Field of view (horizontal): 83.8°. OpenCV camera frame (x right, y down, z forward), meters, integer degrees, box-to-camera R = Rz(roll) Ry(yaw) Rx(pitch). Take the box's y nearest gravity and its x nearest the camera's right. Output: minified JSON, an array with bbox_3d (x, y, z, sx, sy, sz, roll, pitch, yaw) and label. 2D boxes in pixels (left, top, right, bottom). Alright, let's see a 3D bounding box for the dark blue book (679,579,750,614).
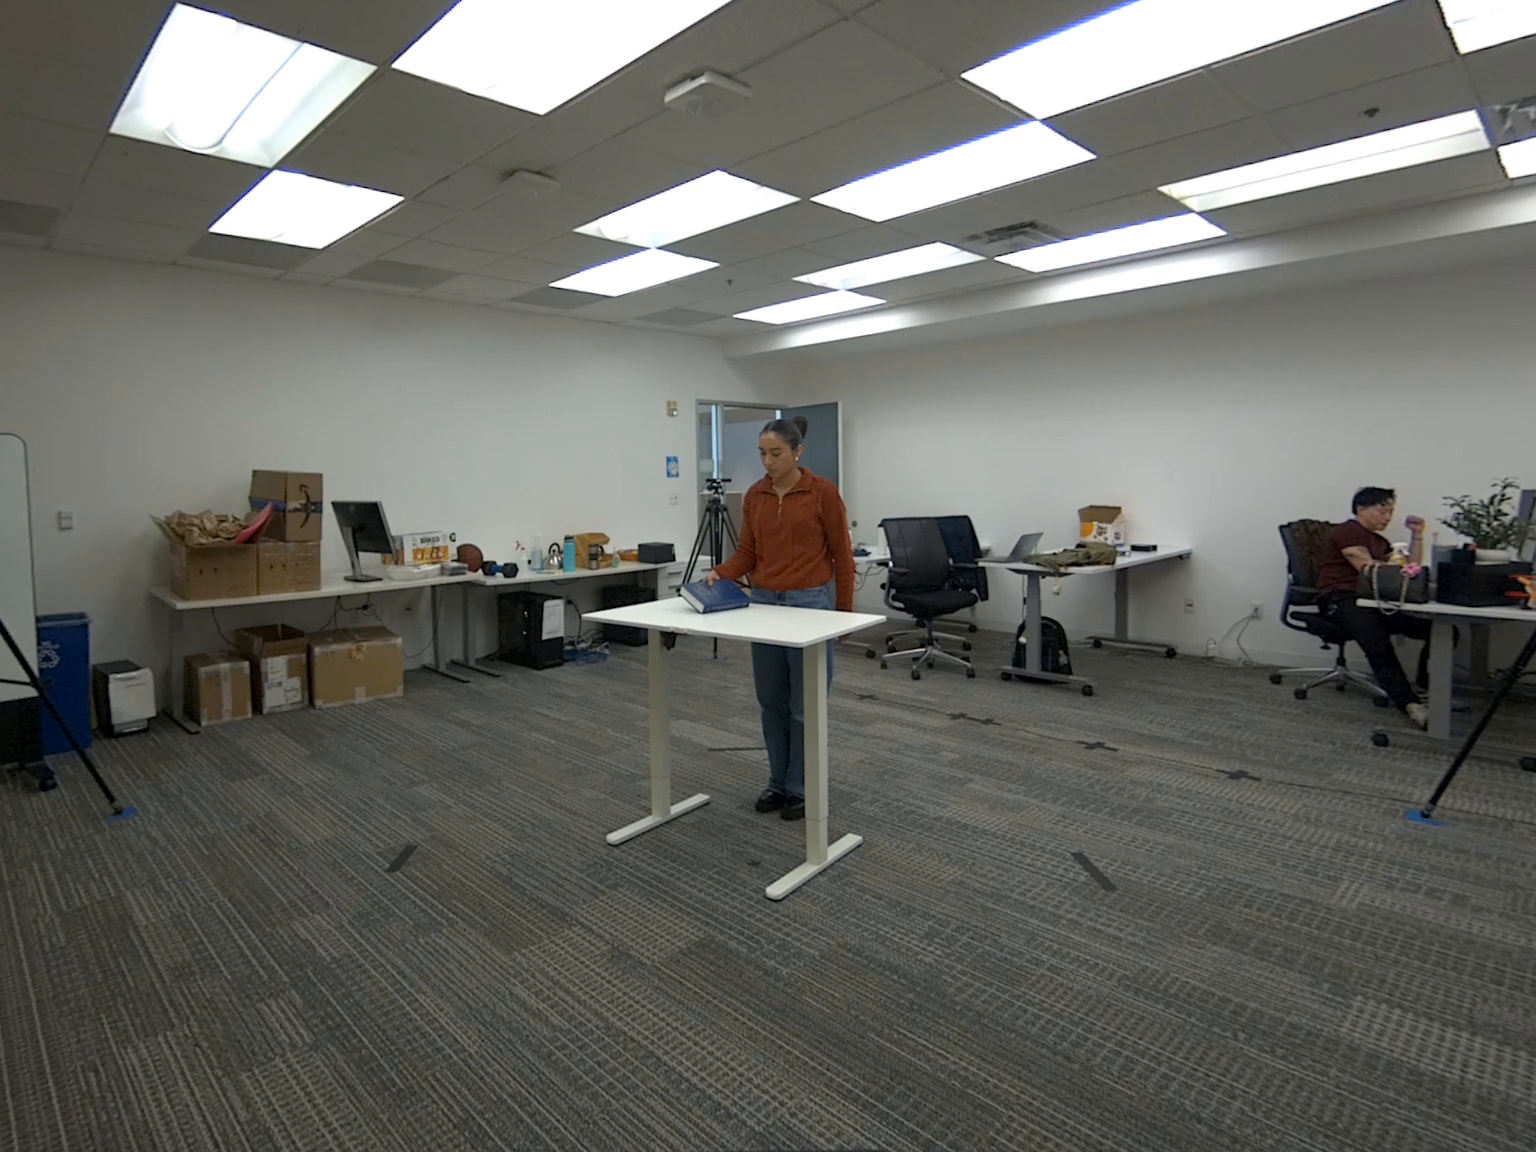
[{"bbox_3d":[-0.206,0.082,3.390,0.239,0.044,0.170,-6,32,-39],"label":"dark blue book"}]
